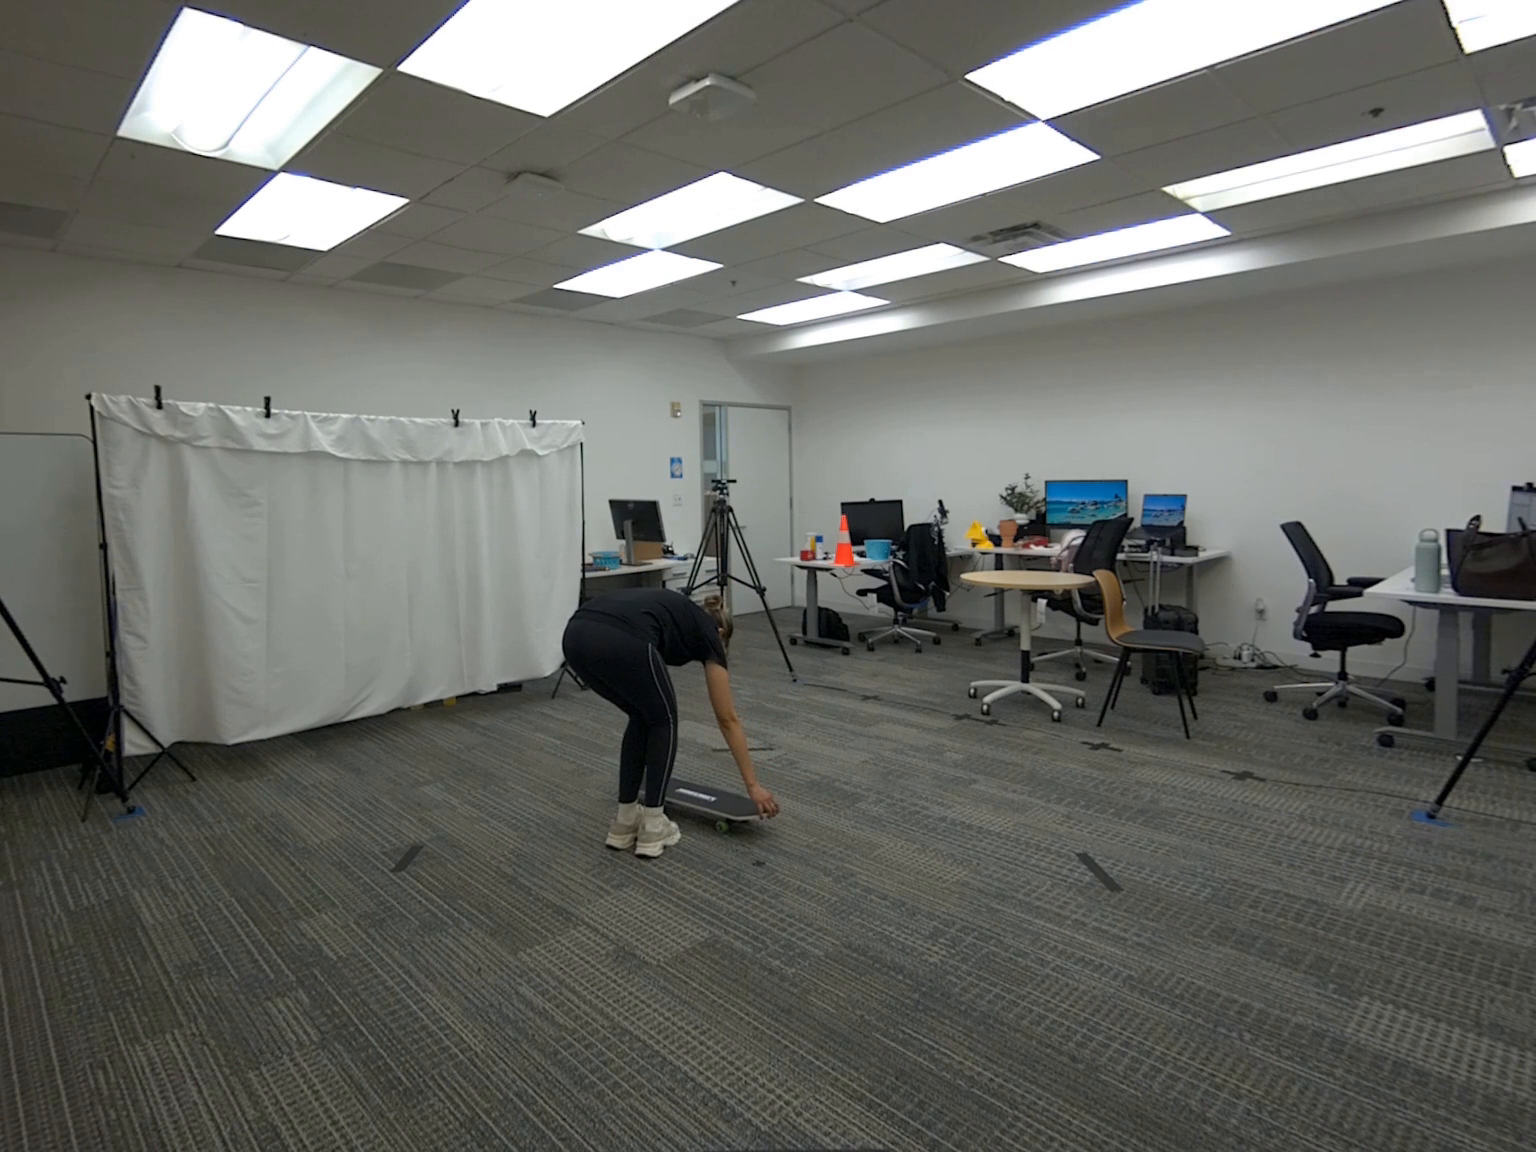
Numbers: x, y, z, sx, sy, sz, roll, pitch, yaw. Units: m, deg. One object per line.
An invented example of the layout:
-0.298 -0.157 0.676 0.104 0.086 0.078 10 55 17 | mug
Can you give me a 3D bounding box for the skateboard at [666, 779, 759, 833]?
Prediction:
-0.299 0.946 3.569 0.809 0.110 0.189 4 8 37 | skateboard
